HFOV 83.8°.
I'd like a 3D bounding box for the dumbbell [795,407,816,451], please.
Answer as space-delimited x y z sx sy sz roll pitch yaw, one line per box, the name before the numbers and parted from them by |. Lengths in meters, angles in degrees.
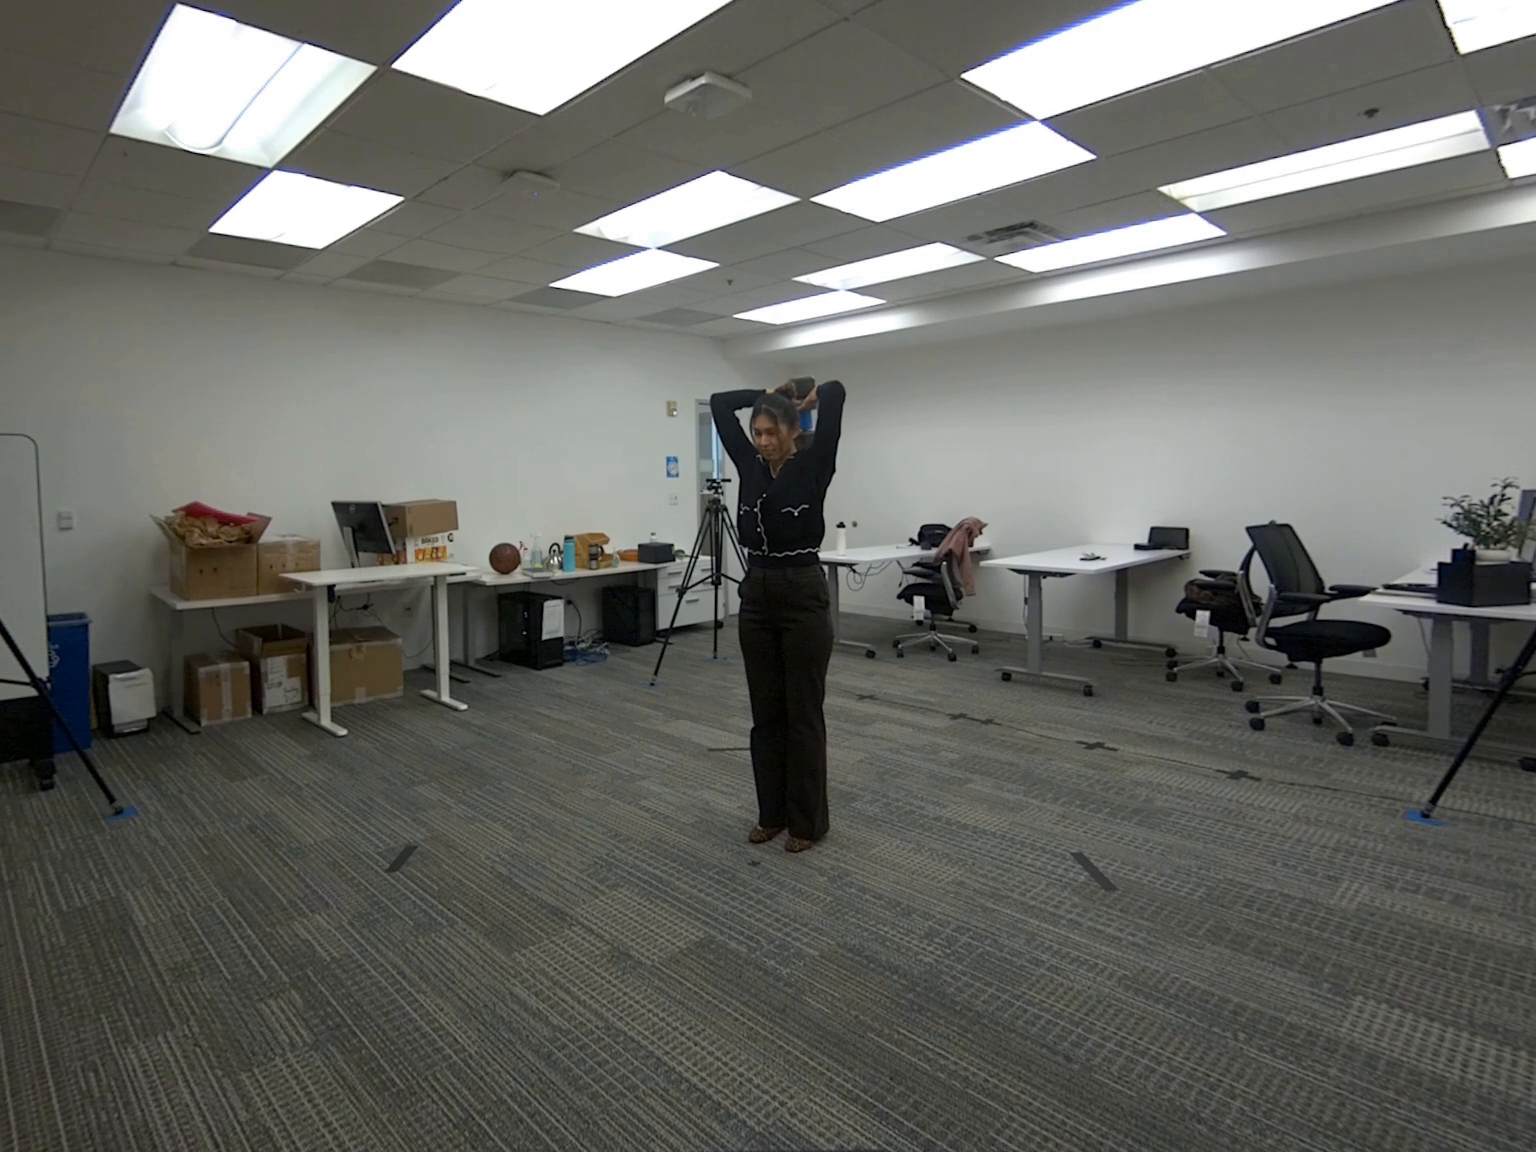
dumbbell | 0.146 -0.646 3.413 0.109 0.290 0.123 -5 12 8
